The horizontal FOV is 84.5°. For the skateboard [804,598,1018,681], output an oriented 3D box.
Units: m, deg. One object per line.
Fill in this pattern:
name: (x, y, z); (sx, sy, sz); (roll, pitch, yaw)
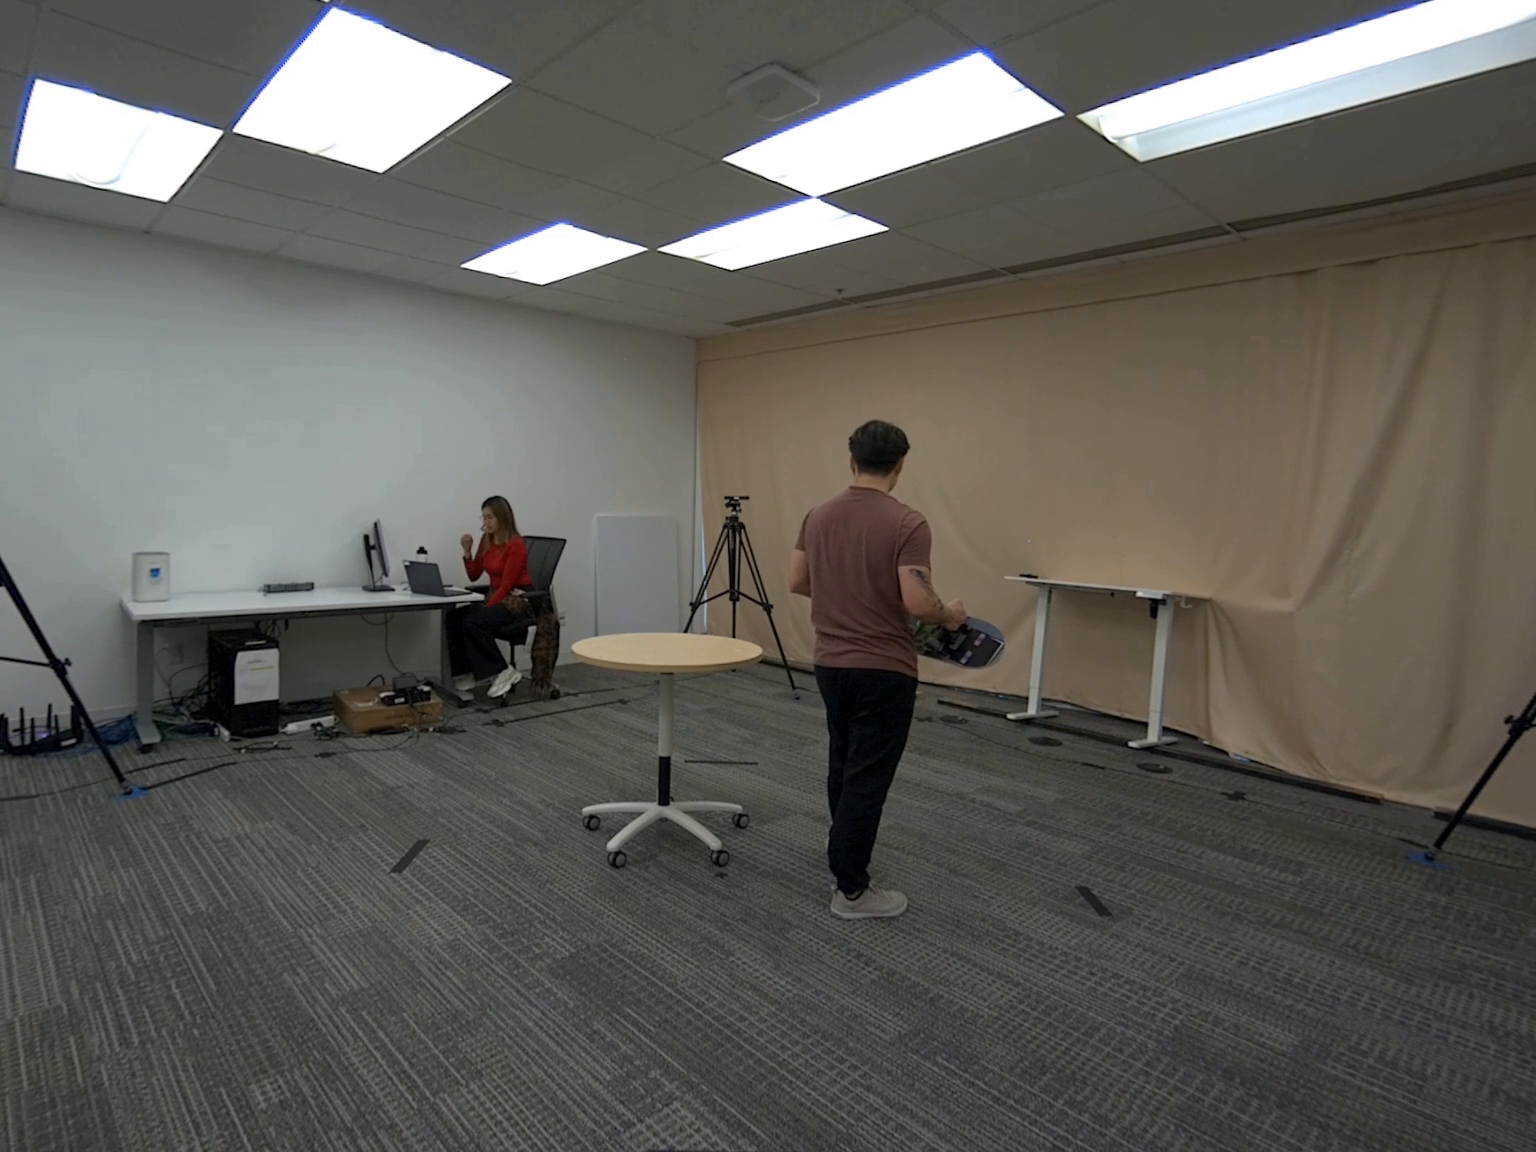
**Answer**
skateboard: (0.482, 0.160, 3.034); (0.807, 0.194, 0.107); (14, -32, 48)
